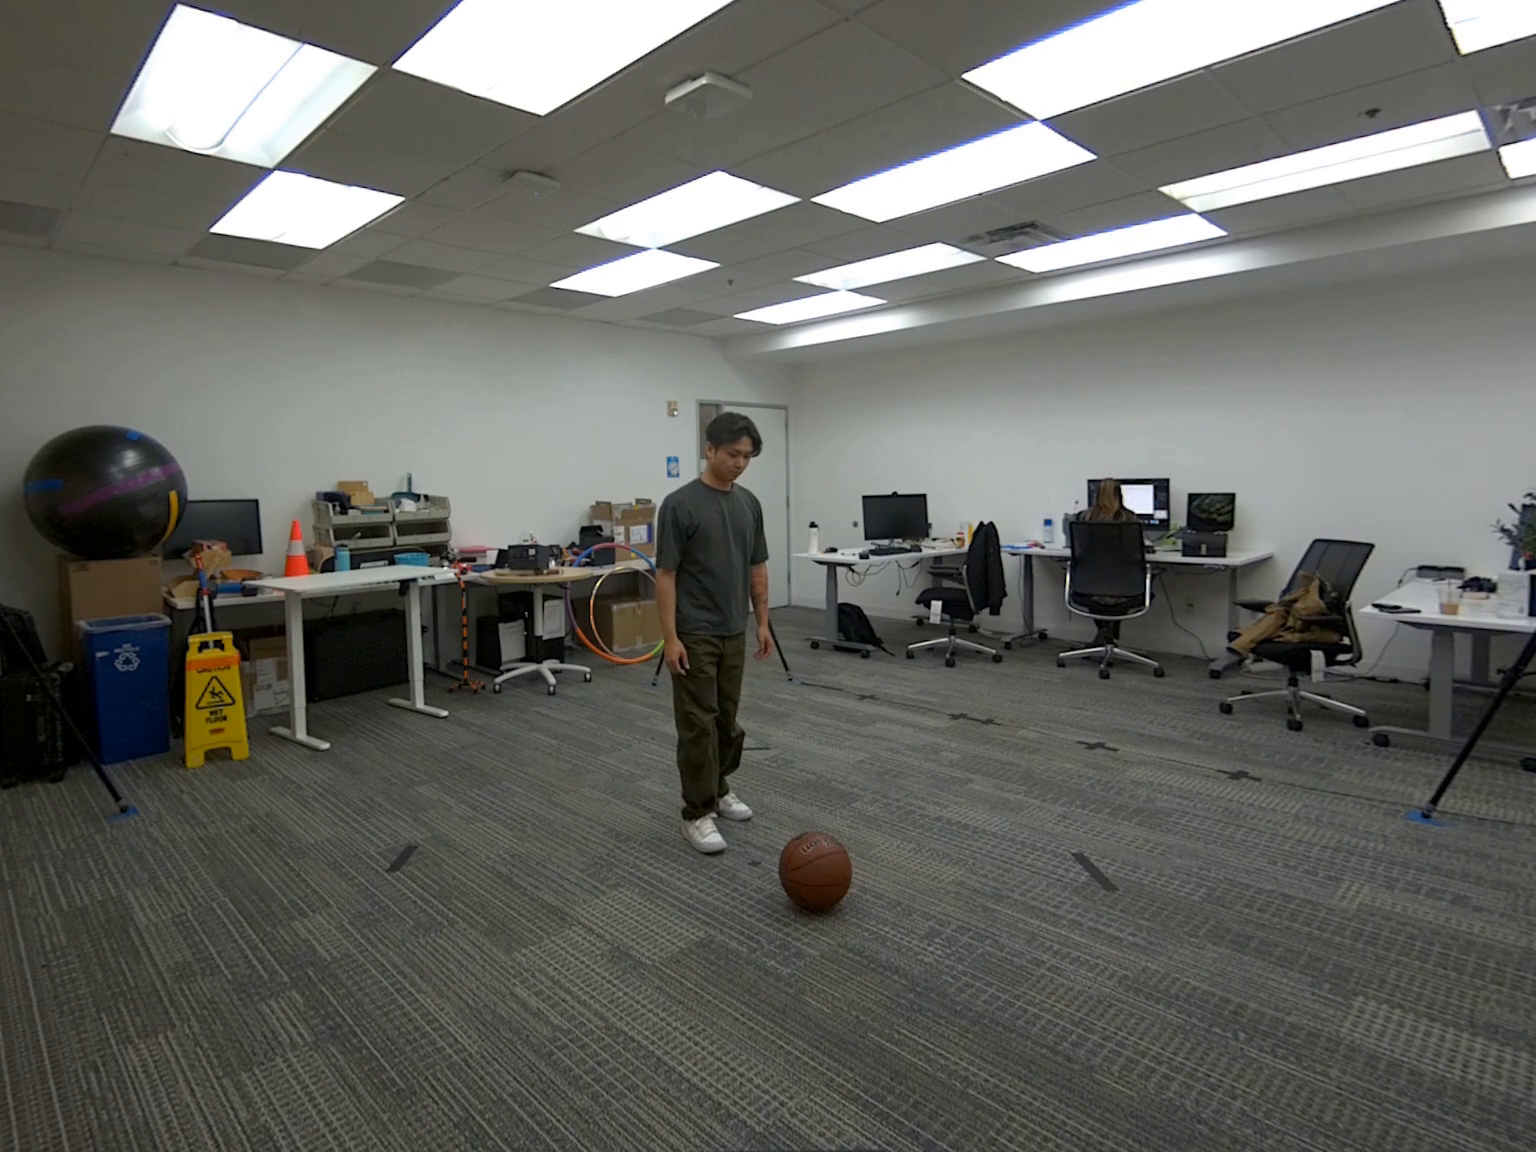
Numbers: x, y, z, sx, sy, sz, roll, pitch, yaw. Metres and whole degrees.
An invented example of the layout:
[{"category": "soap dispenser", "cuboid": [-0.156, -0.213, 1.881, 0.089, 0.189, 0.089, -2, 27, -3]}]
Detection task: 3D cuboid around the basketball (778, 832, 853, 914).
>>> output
[{"category": "basketball", "cuboid": [0.158, 0.953, 2.788, 0.236, 0.235, 0.237, -1, 5, -2]}]
